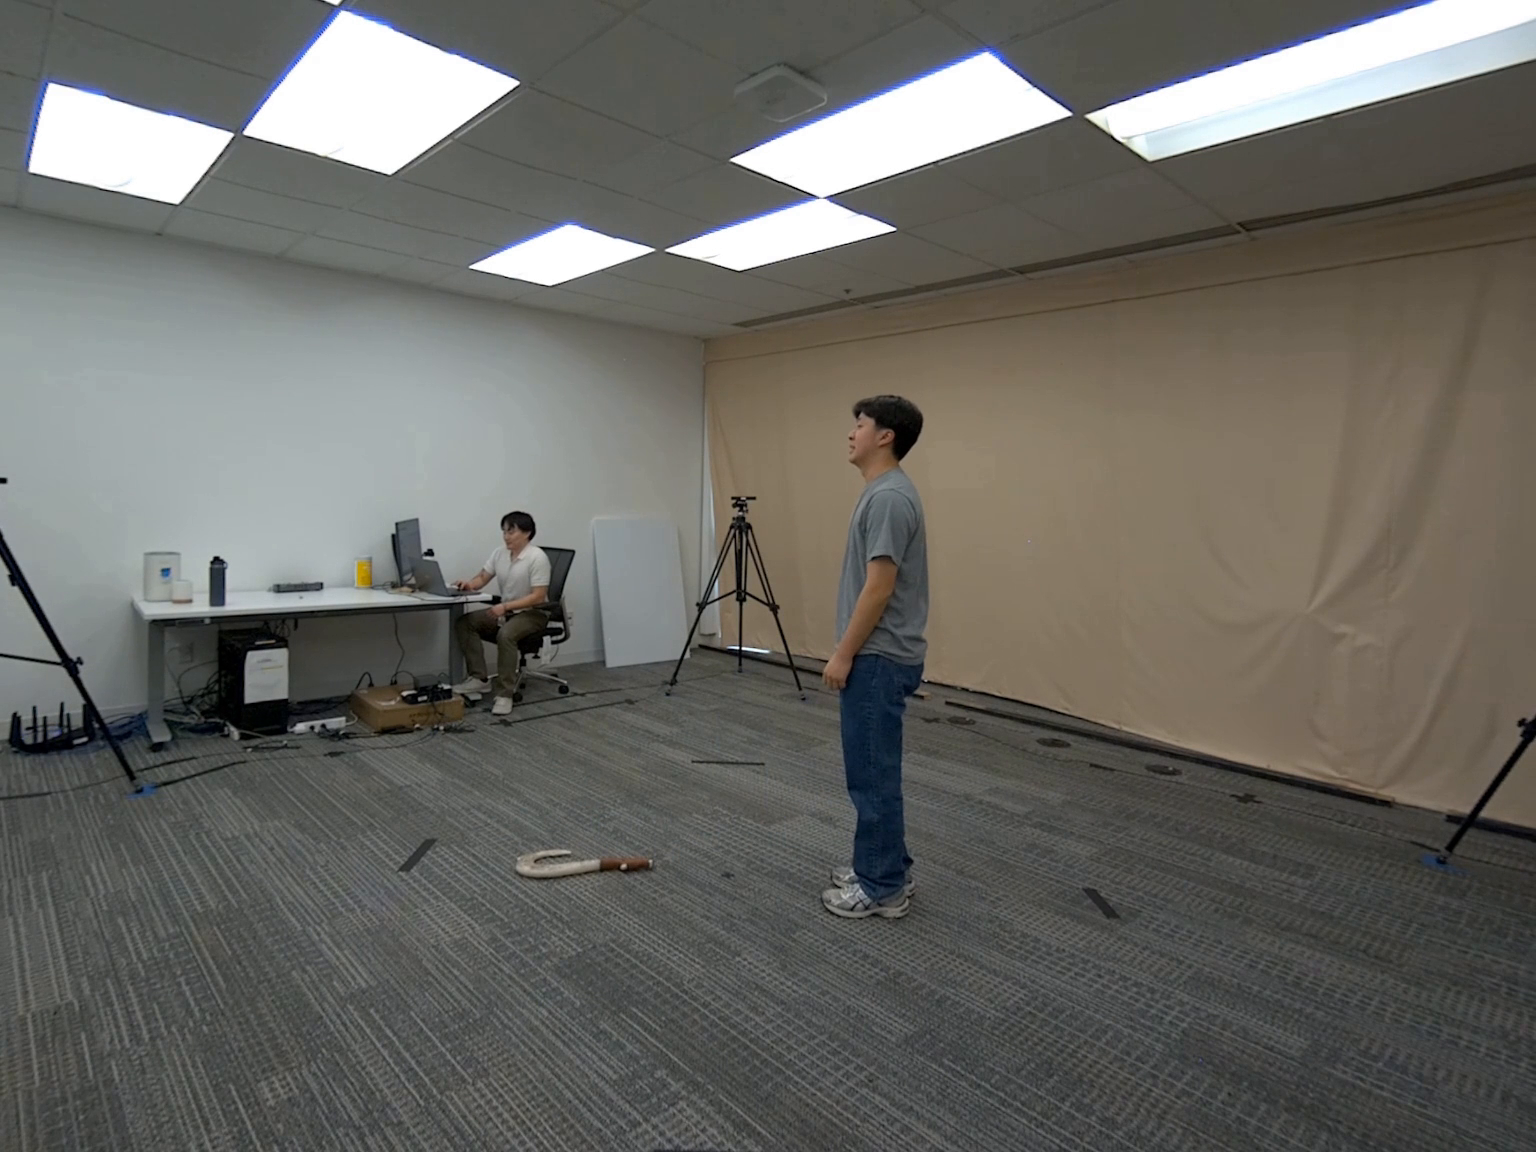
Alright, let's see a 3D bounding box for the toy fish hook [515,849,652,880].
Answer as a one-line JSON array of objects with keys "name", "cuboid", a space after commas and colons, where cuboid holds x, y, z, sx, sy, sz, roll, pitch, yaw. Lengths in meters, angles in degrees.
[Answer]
[{"name": "toy fish hook", "cuboid": [-0.686, 1.057, 3.156, 0.503, 0.048, 0.227, 1, 7, -8]}]
